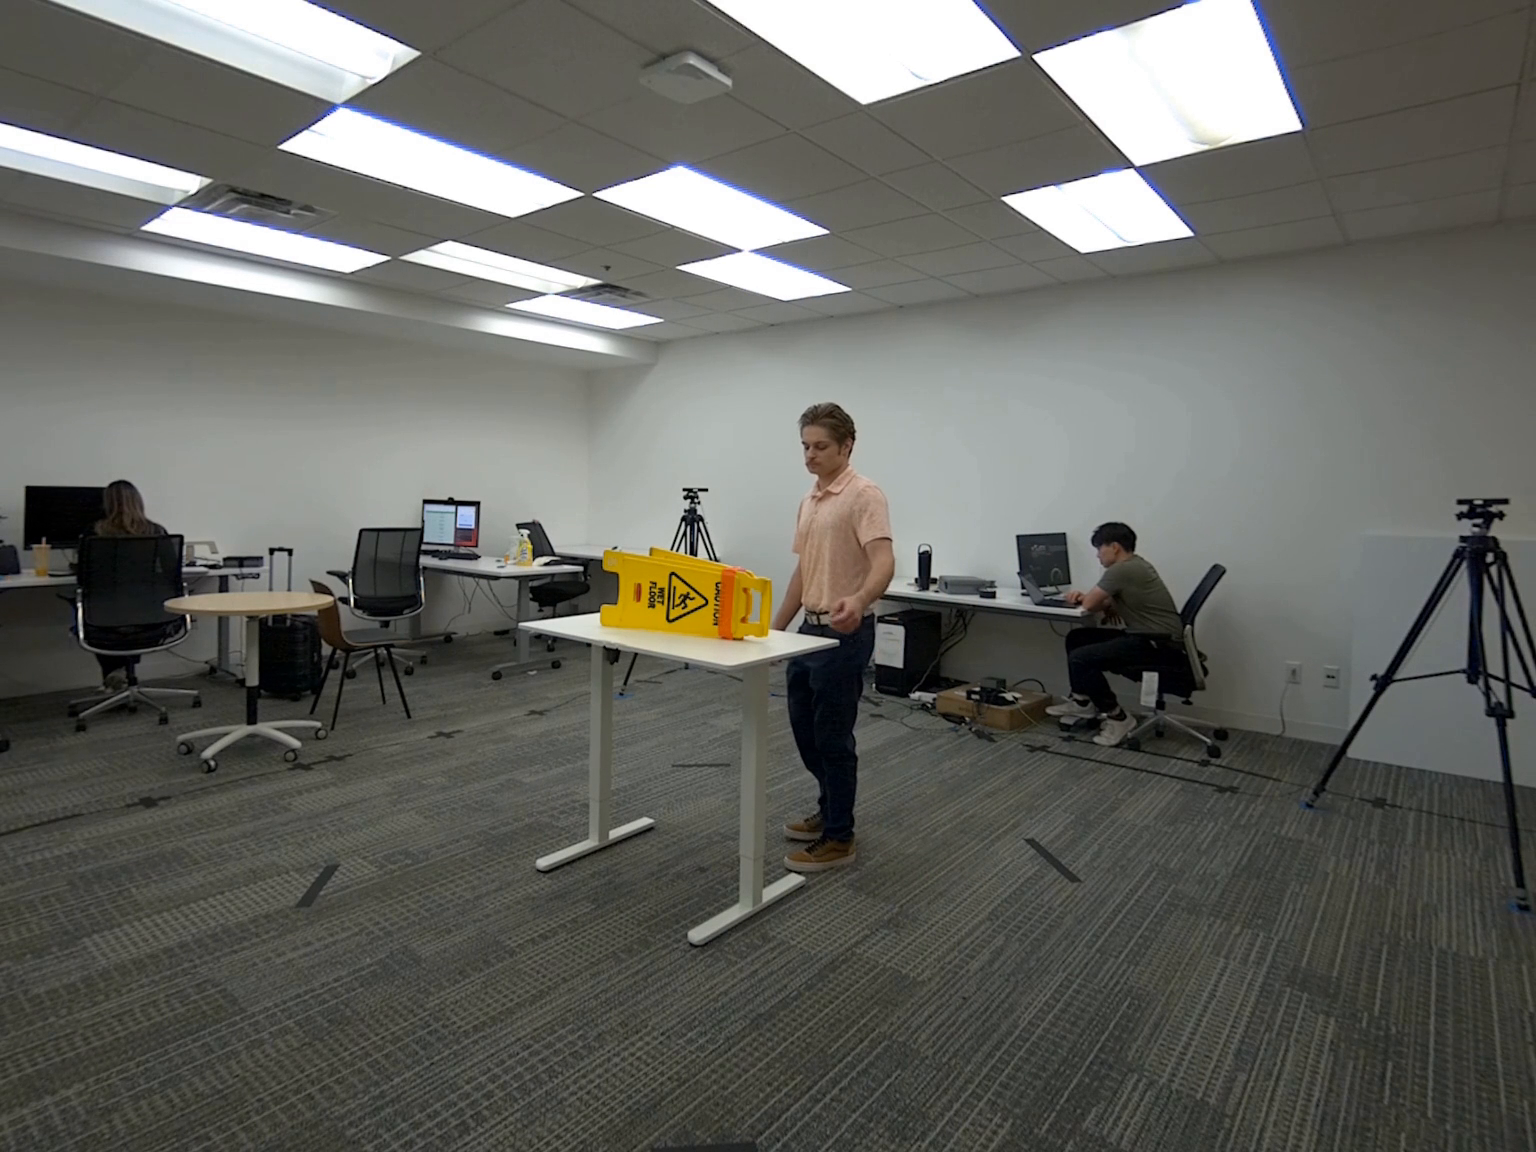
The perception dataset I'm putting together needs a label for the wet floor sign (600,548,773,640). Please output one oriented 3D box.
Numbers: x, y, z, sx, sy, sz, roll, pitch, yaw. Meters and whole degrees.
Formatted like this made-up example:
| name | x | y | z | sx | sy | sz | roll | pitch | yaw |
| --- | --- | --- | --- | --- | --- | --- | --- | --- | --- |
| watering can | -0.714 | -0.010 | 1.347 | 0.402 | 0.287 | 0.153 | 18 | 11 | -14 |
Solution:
| name | x | y | z | sx | sy | sz | roll | pitch | yaw |
| --- | --- | --- | --- | --- | --- | --- | --- | --- | --- |
| wet floor sign | -0.276 | 0.071 | 3.001 | 0.668 | 0.281 | 0.281 | 8 | 7 | 36 |
